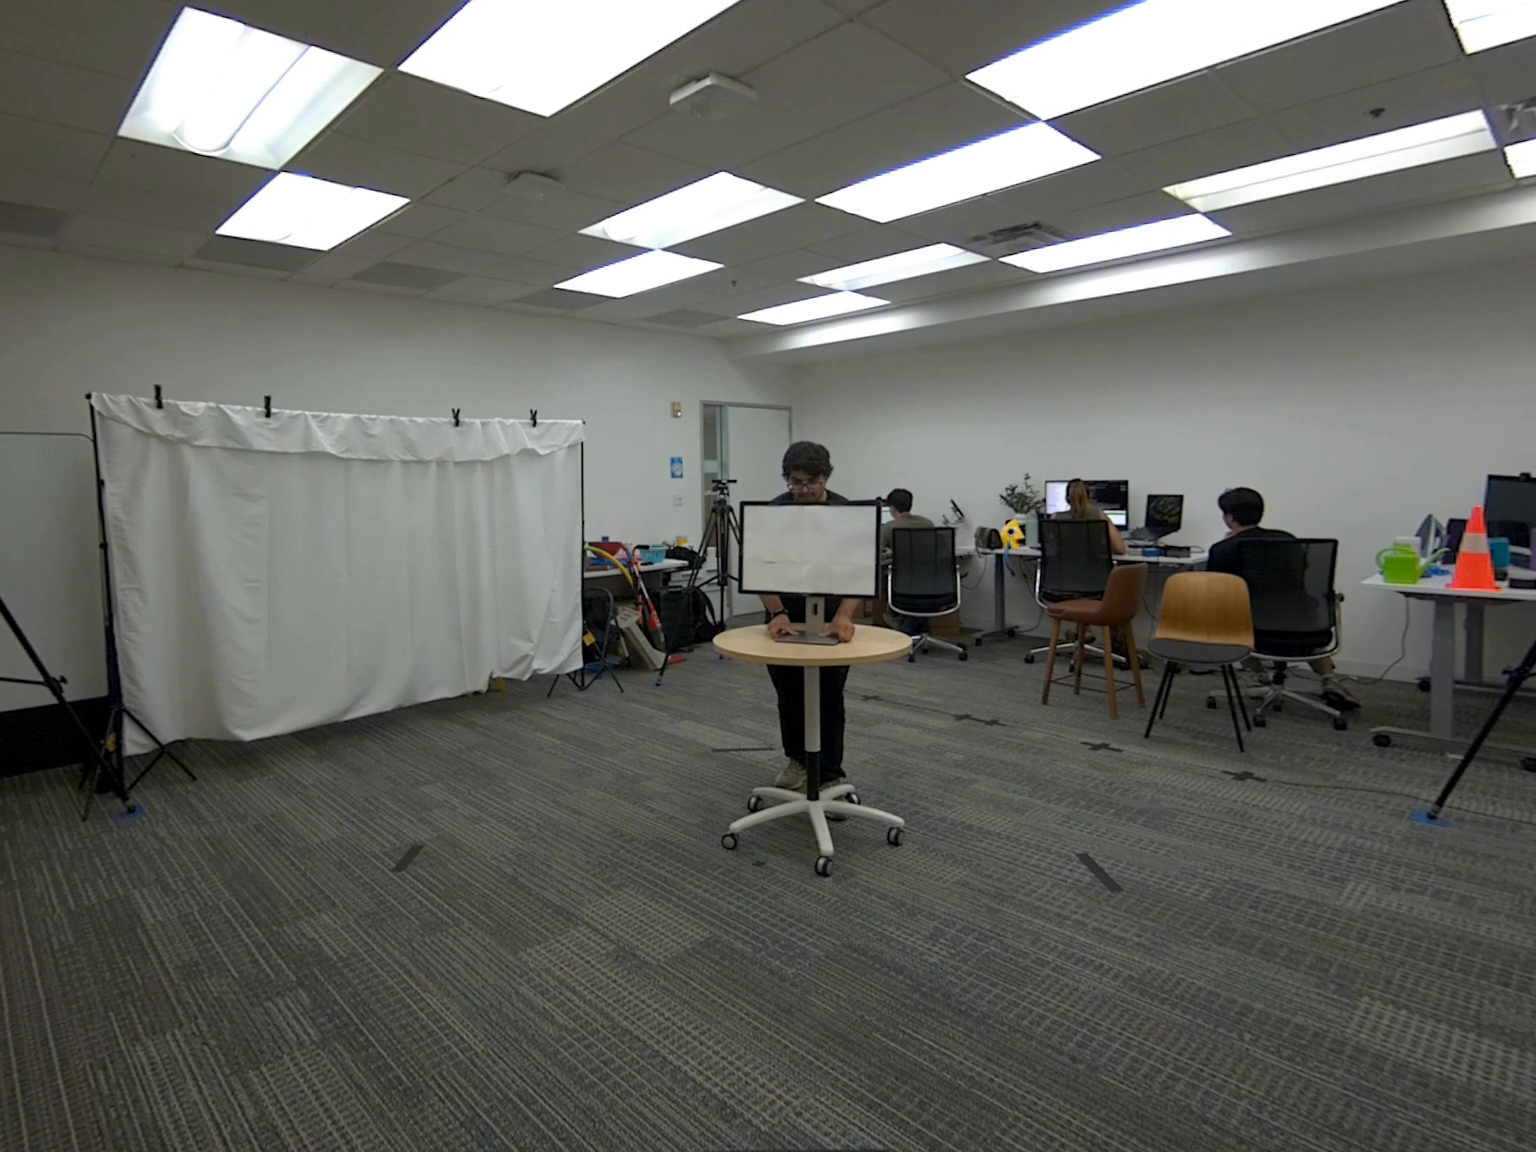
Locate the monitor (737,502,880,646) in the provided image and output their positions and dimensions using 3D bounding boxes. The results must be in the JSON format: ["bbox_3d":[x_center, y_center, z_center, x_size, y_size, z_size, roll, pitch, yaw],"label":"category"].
[{"bbox_3d":[0.174,-0.021,3.312,0.577,0.552,0.206,1,4,23],"label":"monitor"}]
